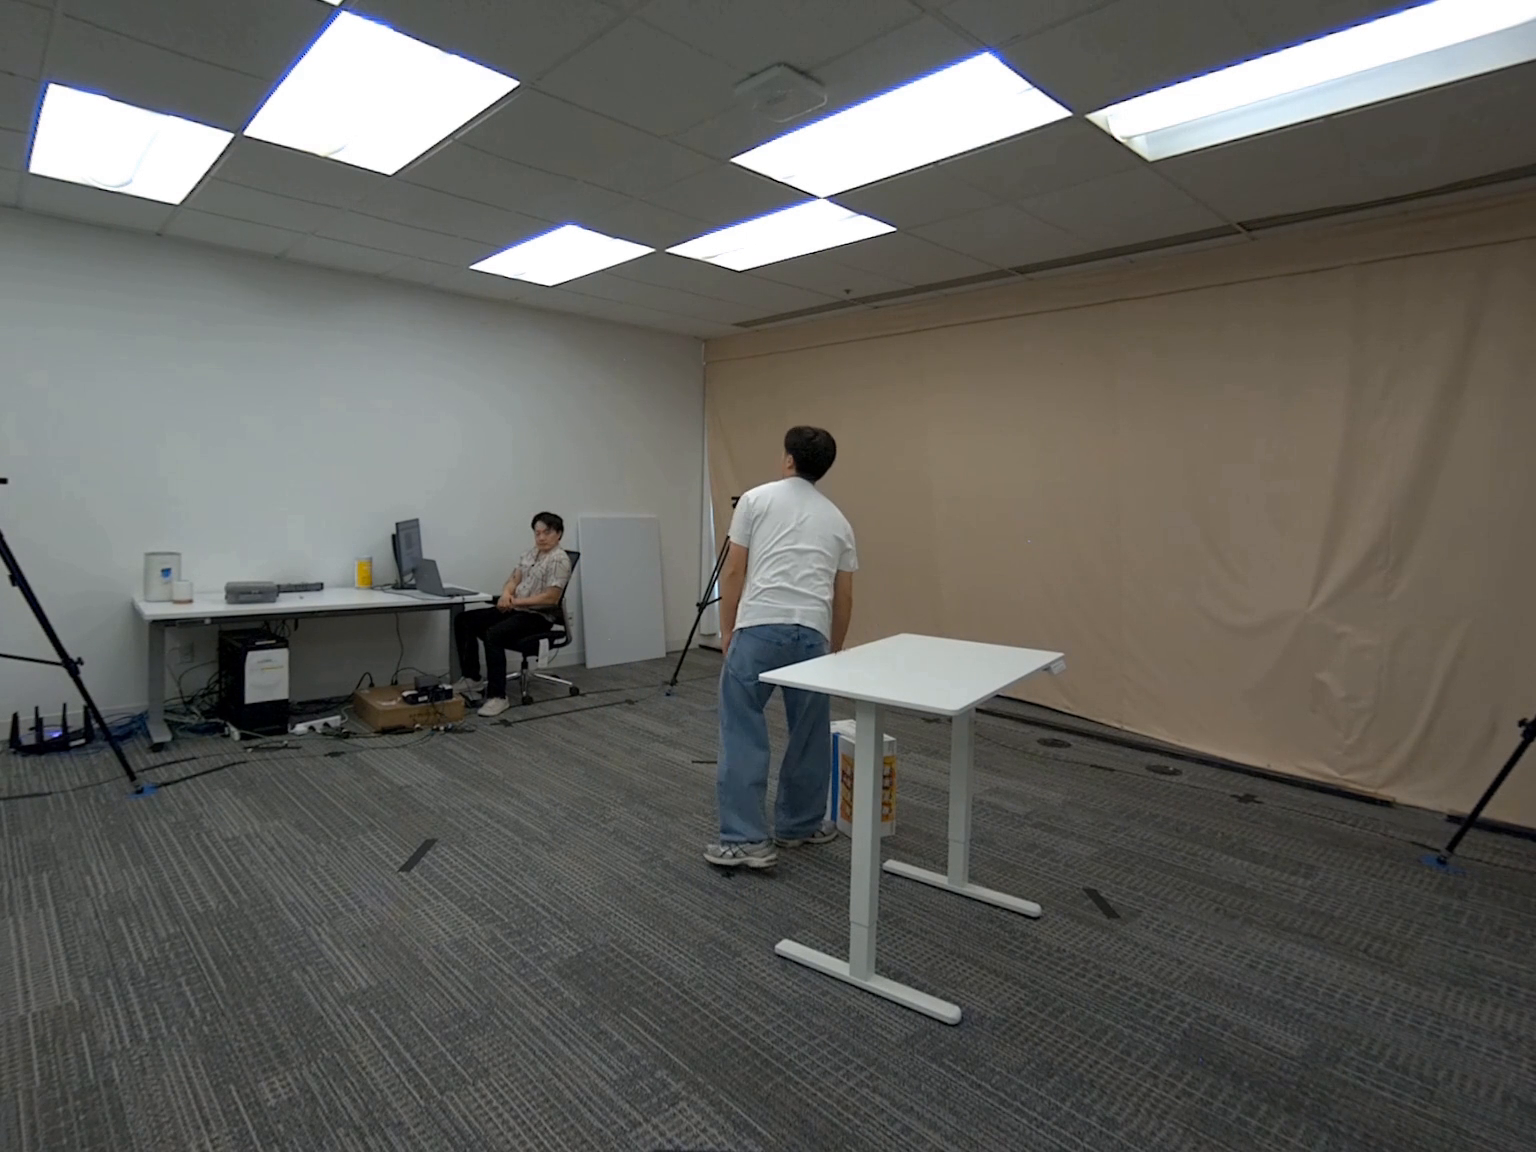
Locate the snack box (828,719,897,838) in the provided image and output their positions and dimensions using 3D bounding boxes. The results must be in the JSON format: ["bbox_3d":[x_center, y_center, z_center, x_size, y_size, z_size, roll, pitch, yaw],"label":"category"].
[{"bbox_3d":[0.366,0.870,3.638,0.202,0.404,0.347,0,4,-26],"label":"snack box"}]
